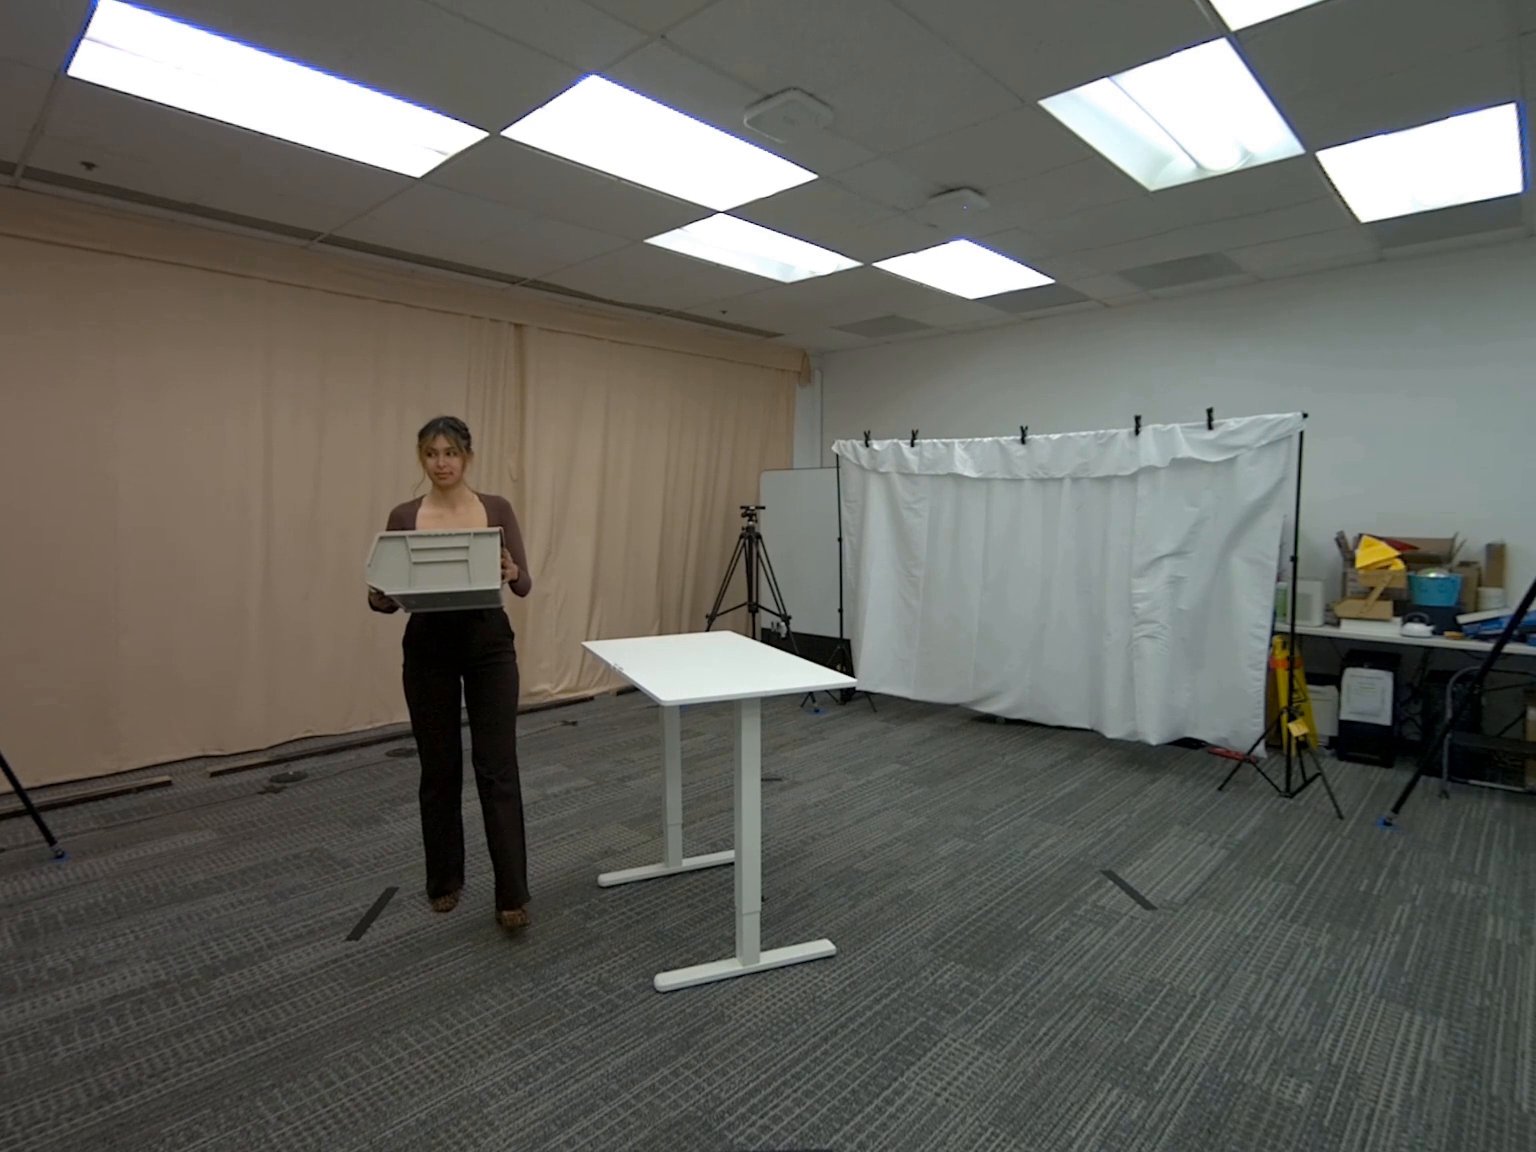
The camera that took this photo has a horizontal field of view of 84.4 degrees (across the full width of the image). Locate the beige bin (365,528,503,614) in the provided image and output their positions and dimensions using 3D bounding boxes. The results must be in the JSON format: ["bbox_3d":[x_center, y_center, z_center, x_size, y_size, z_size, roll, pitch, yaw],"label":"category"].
[{"bbox_3d":[-0.999,-0.012,2.586,0.373,0.190,0.424,0,-10,-12],"label":"beige bin"}]
